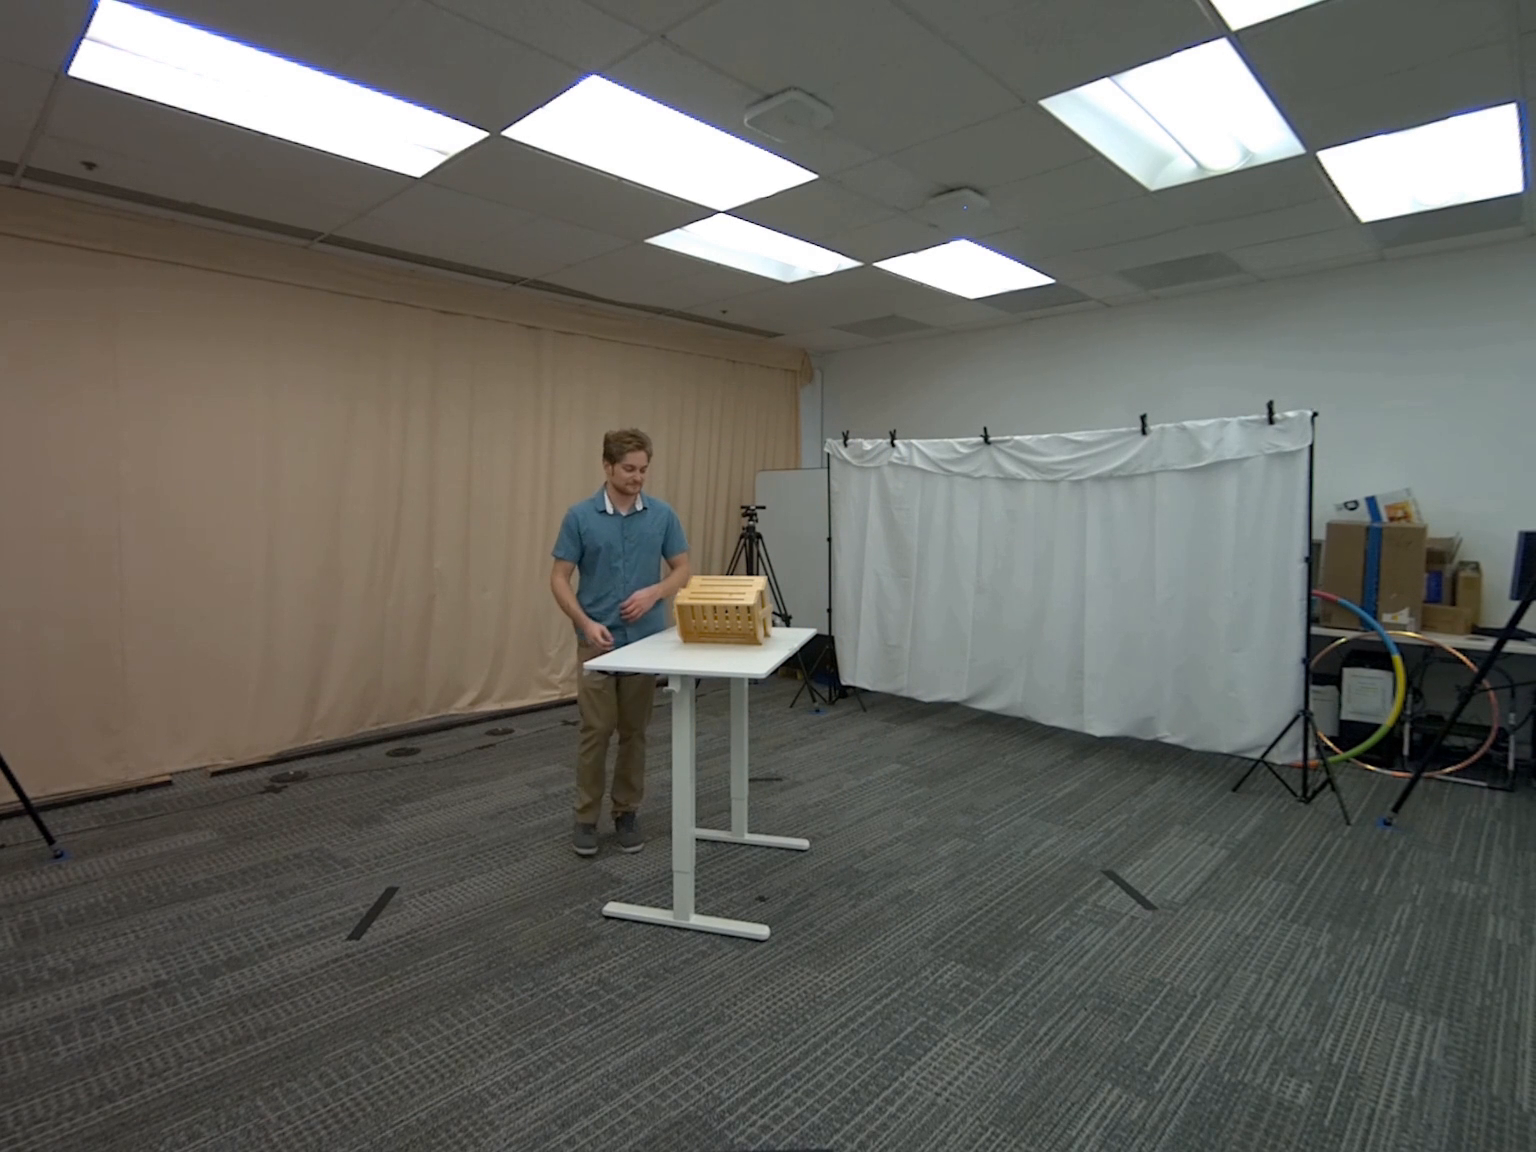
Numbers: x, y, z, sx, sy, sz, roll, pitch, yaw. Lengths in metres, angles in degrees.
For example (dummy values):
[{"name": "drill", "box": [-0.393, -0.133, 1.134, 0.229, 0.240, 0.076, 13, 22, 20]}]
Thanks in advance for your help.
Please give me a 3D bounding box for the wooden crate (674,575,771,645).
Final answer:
[{"name": "wooden crate", "box": [-0.163, 0.157, 3.157, 0.329, 0.296, 0.275, 0, 30, 12]}]
